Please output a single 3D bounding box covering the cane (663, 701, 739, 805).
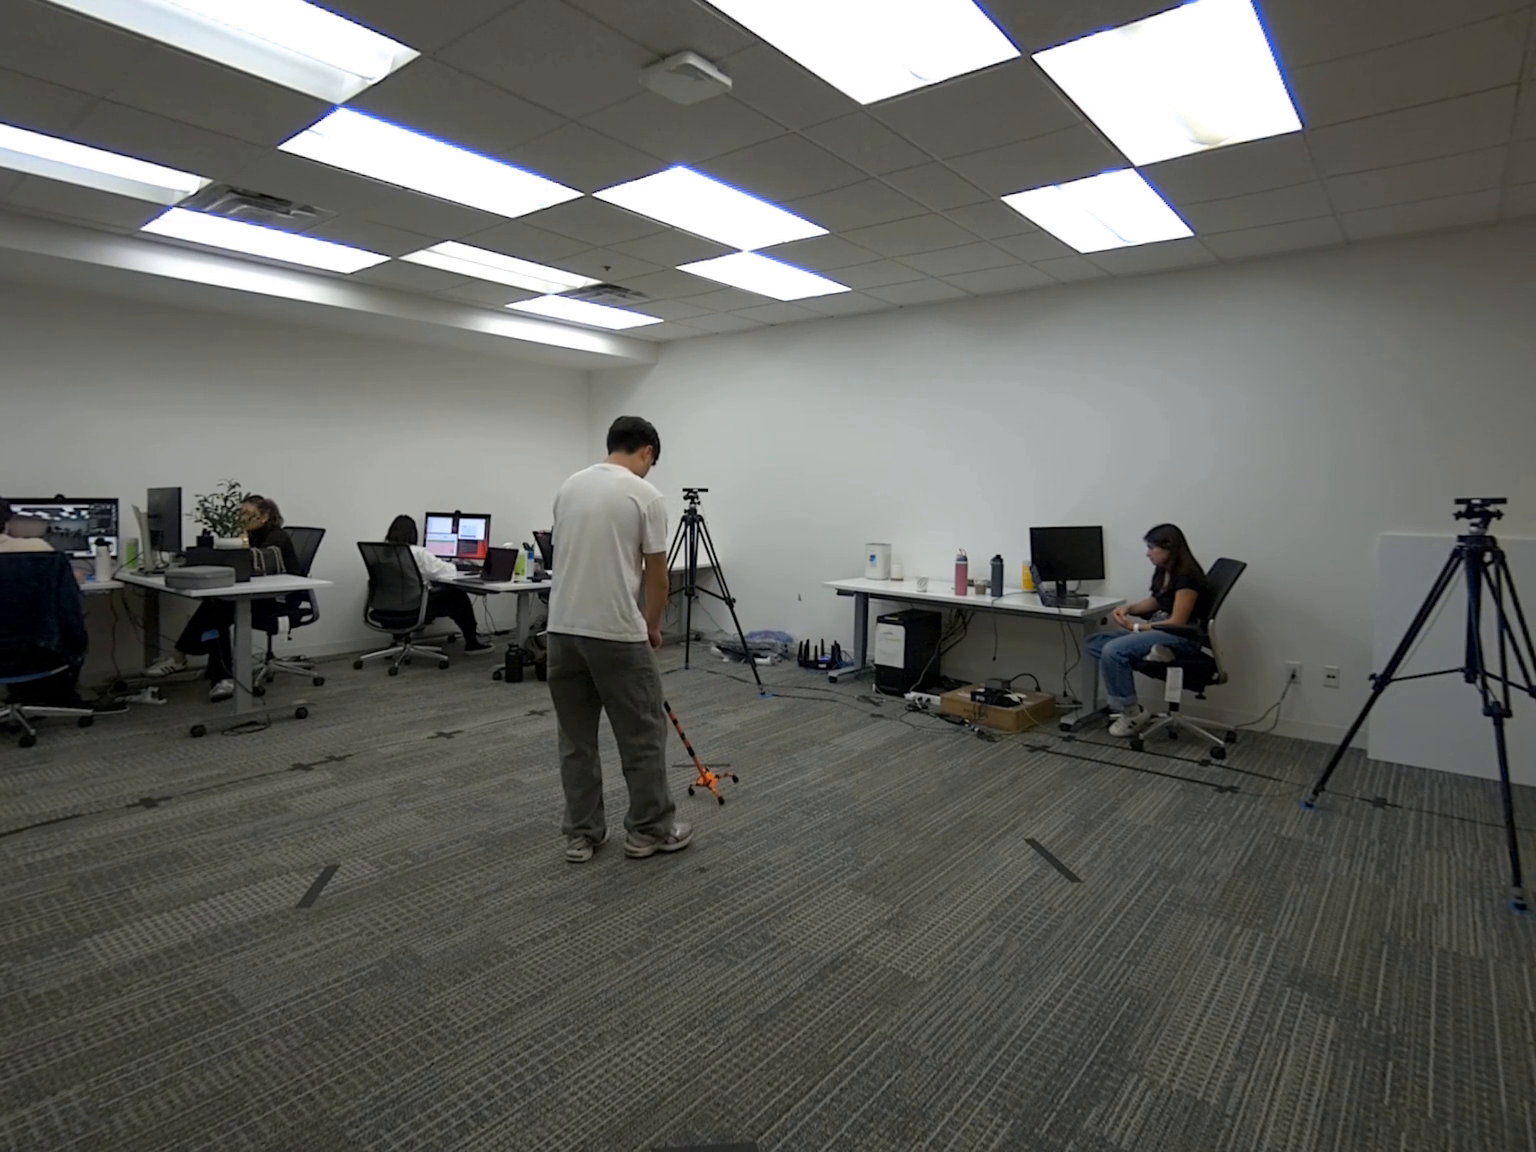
[{"bbox_3d":[-0.392,0.605,3.641,0.213,0.877,0.152,2,39,37],"label":"cane"}]
